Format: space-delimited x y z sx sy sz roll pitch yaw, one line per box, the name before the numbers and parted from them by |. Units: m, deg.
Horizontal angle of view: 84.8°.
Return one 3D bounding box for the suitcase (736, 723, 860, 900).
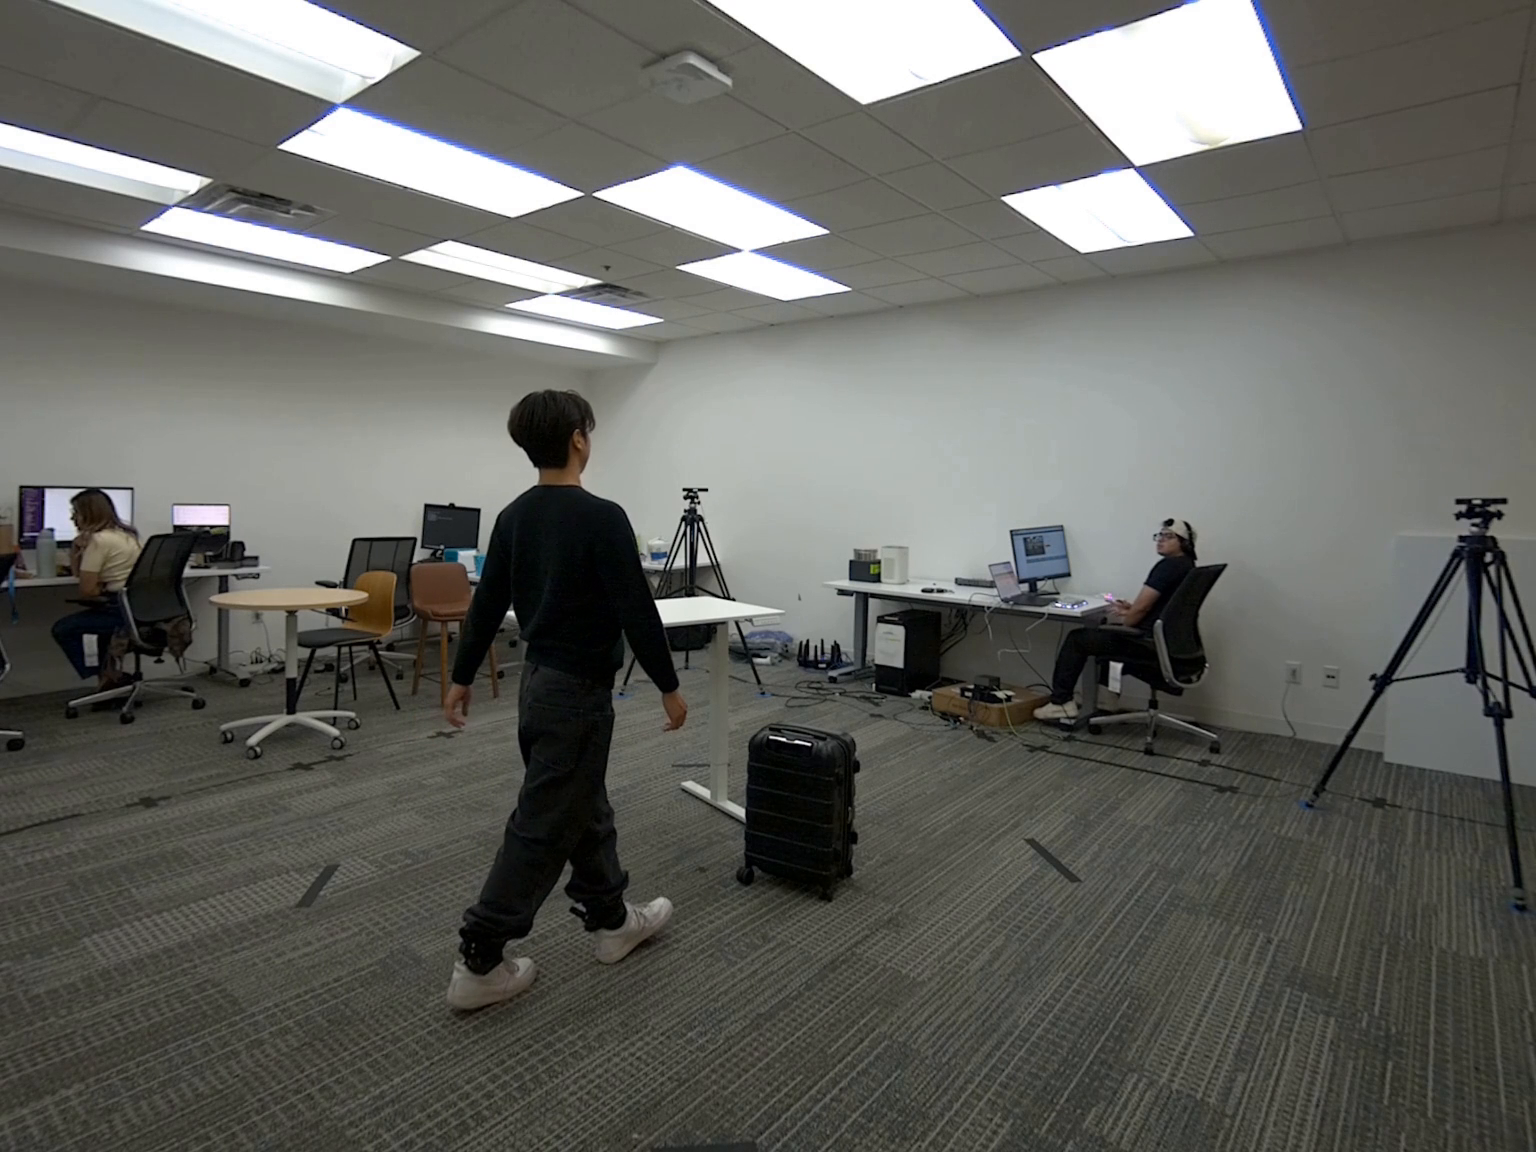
suitcase | 0.107 0.805 3.034 0.386 0.548 0.242 3 3 27
